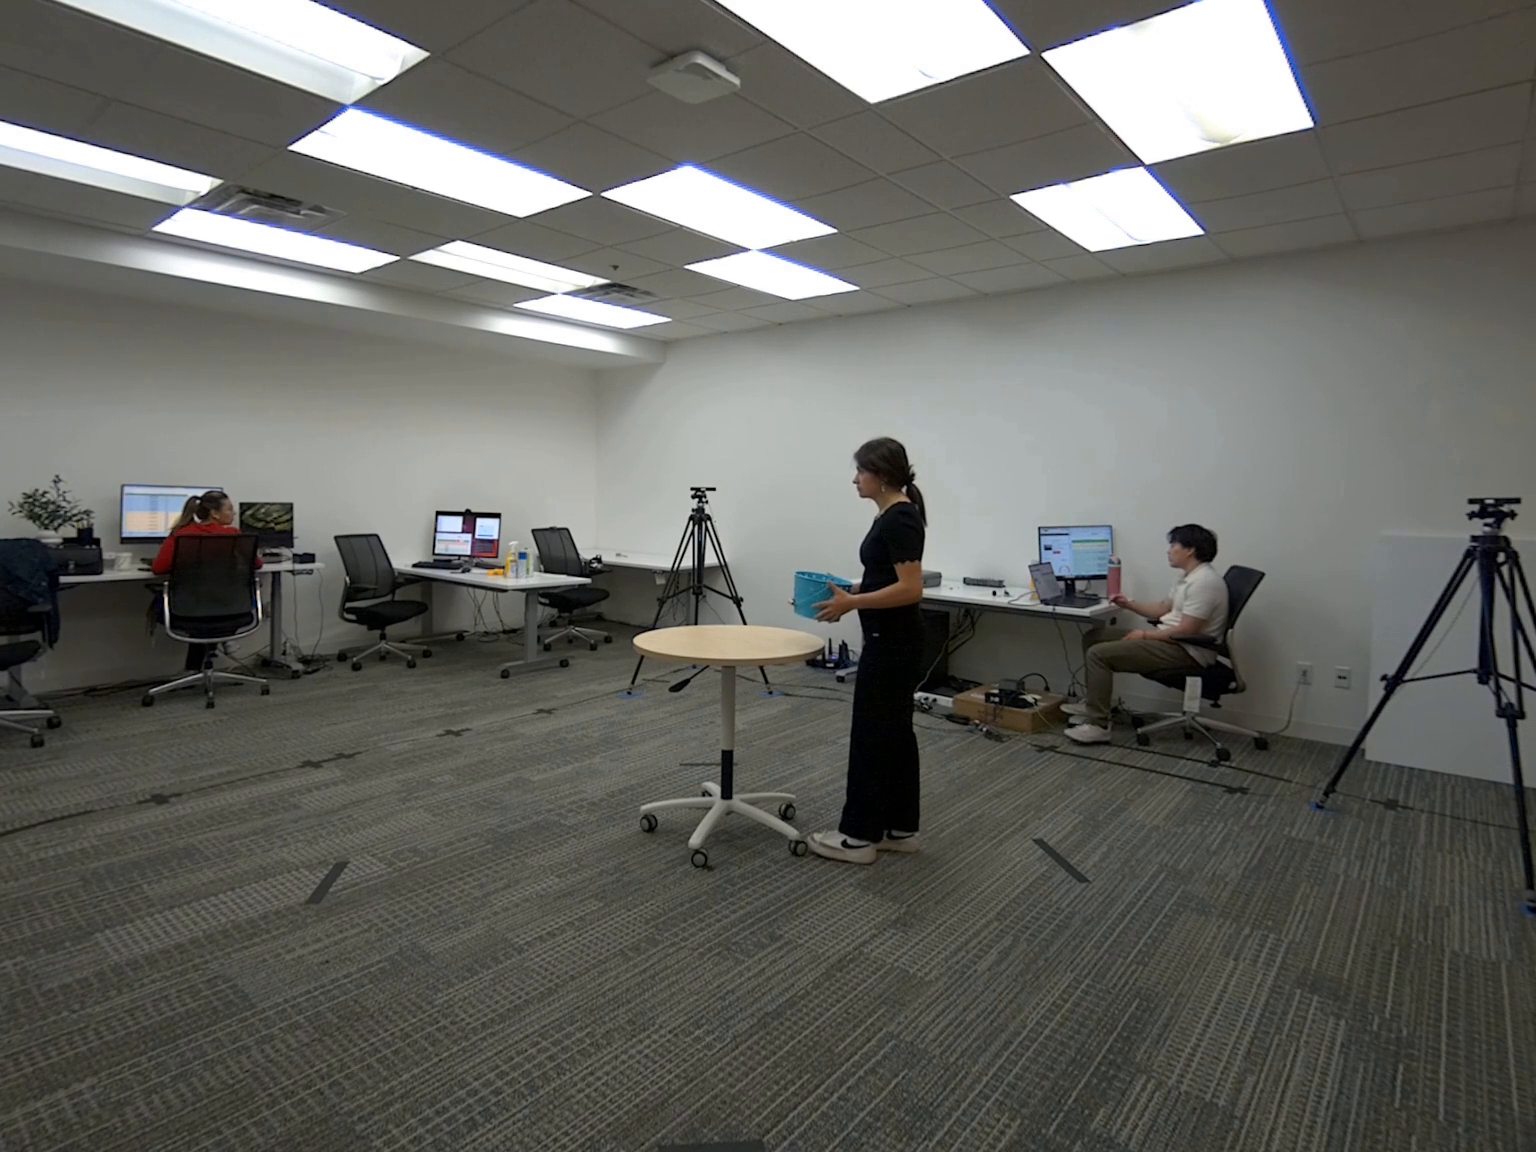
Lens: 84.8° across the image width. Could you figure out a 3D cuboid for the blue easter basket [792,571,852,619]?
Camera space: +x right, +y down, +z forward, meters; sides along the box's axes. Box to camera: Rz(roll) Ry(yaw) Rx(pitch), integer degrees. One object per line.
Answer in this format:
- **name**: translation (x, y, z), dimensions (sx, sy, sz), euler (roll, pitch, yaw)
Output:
- **blue easter basket**: translation (0.197, 0.081, 3.294), dimensions (0.243, 0.155, 0.245), euler (10, 5, -3)
